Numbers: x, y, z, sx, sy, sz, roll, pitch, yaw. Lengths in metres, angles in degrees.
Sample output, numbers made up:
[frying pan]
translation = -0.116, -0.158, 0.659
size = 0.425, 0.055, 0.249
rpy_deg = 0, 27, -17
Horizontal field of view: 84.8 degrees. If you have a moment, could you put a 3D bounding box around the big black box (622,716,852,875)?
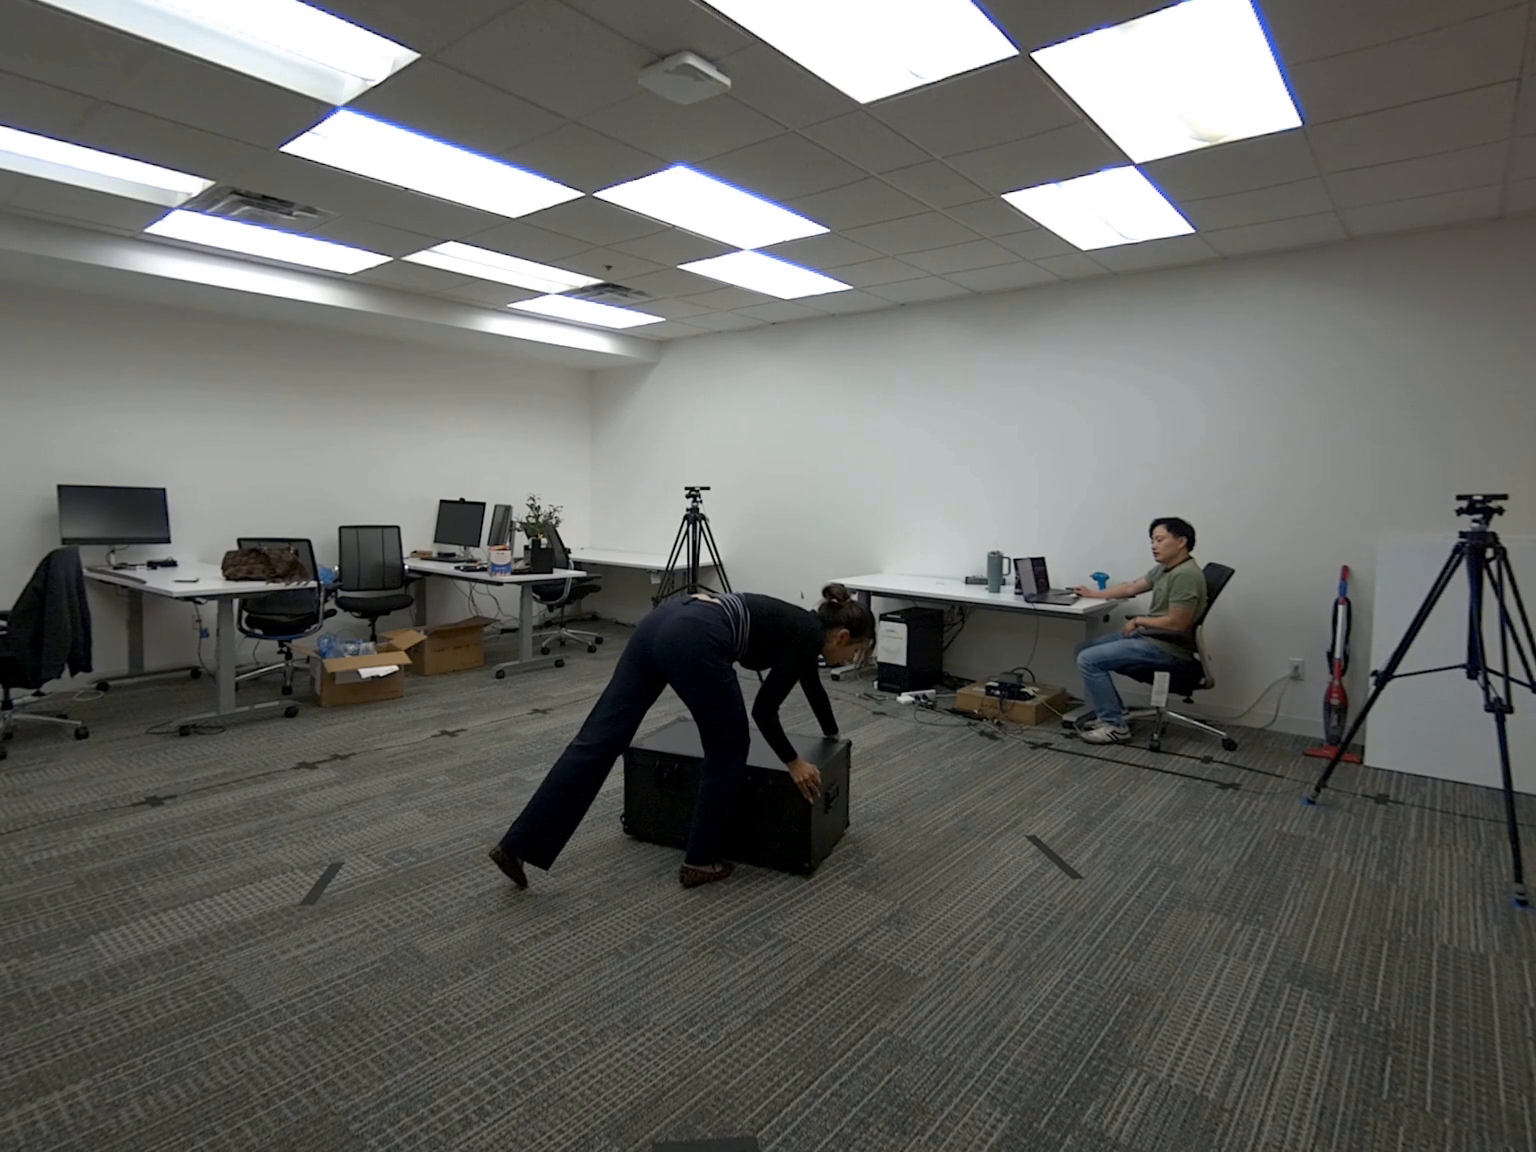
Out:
[big black box]
translation = -0.158, 0.842, 3.410
size = 0.883, 0.394, 0.511
rpy_deg = 4, 6, 23
